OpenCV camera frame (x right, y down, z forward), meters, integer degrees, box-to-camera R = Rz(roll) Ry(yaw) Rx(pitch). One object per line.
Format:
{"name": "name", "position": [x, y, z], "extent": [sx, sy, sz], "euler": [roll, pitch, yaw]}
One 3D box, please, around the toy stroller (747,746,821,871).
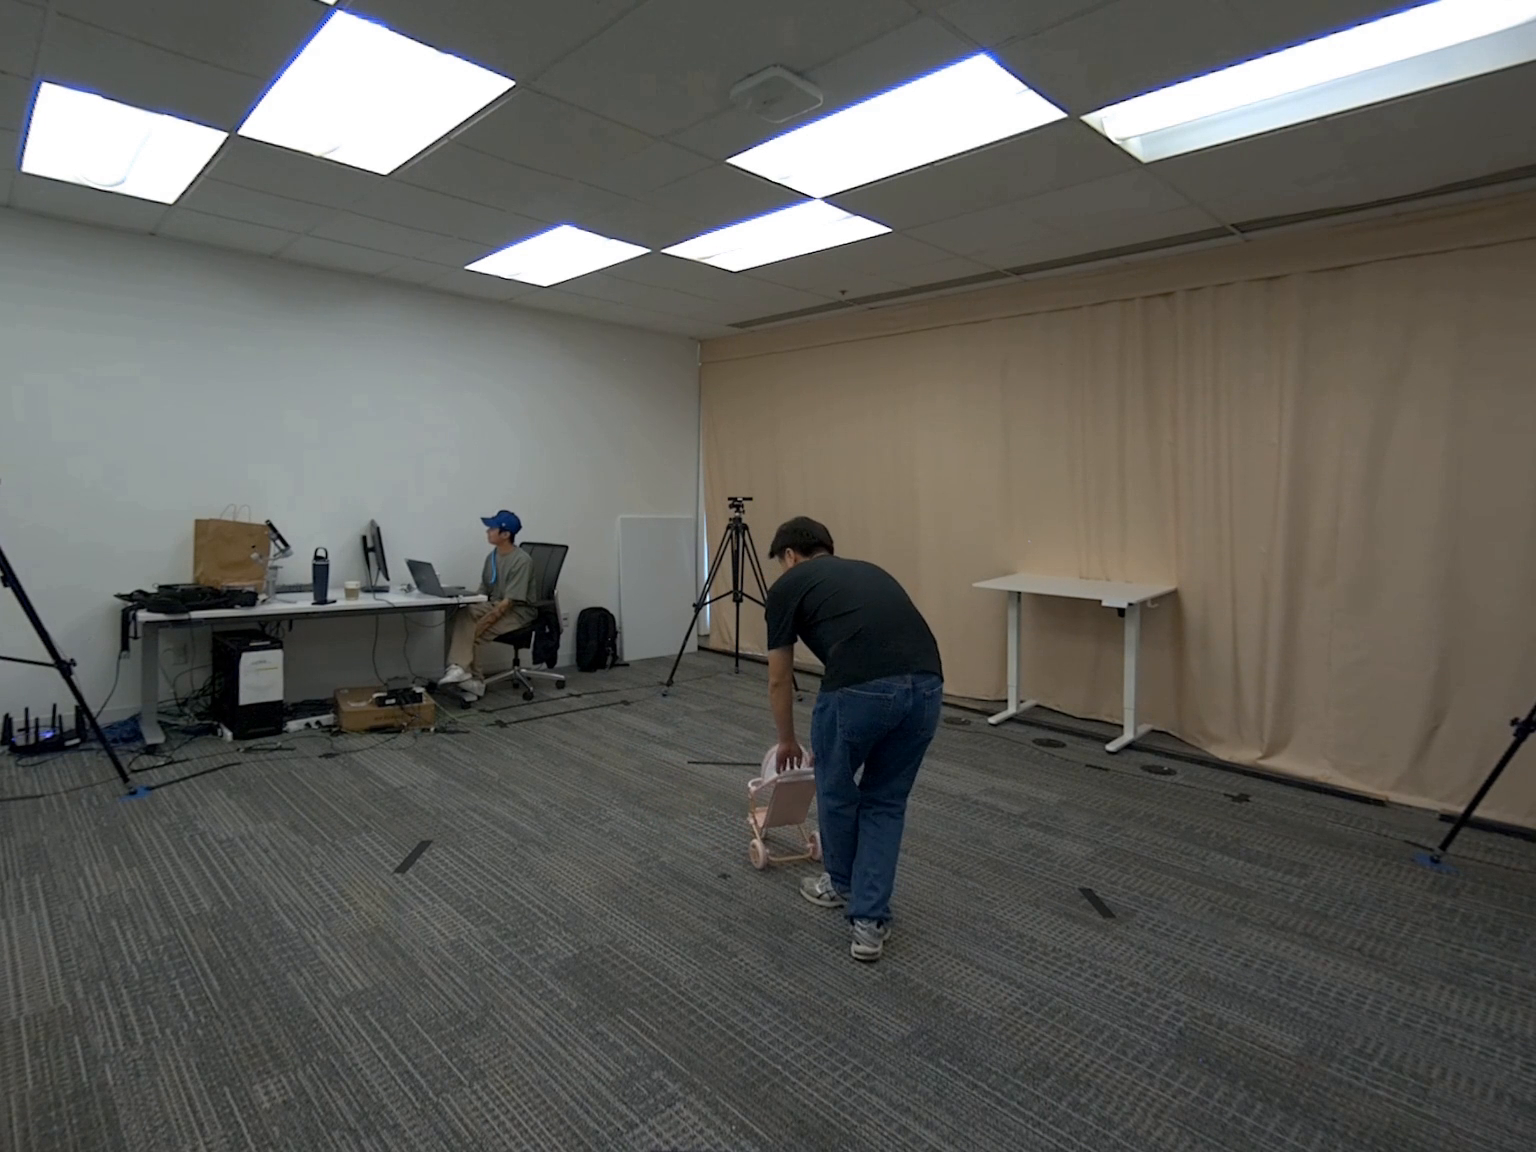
{"name": "toy stroller", "position": [0.051, 0.872, 3.263], "extent": [0.278, 0.528, 0.350], "euler": [1, 22, -17]}
